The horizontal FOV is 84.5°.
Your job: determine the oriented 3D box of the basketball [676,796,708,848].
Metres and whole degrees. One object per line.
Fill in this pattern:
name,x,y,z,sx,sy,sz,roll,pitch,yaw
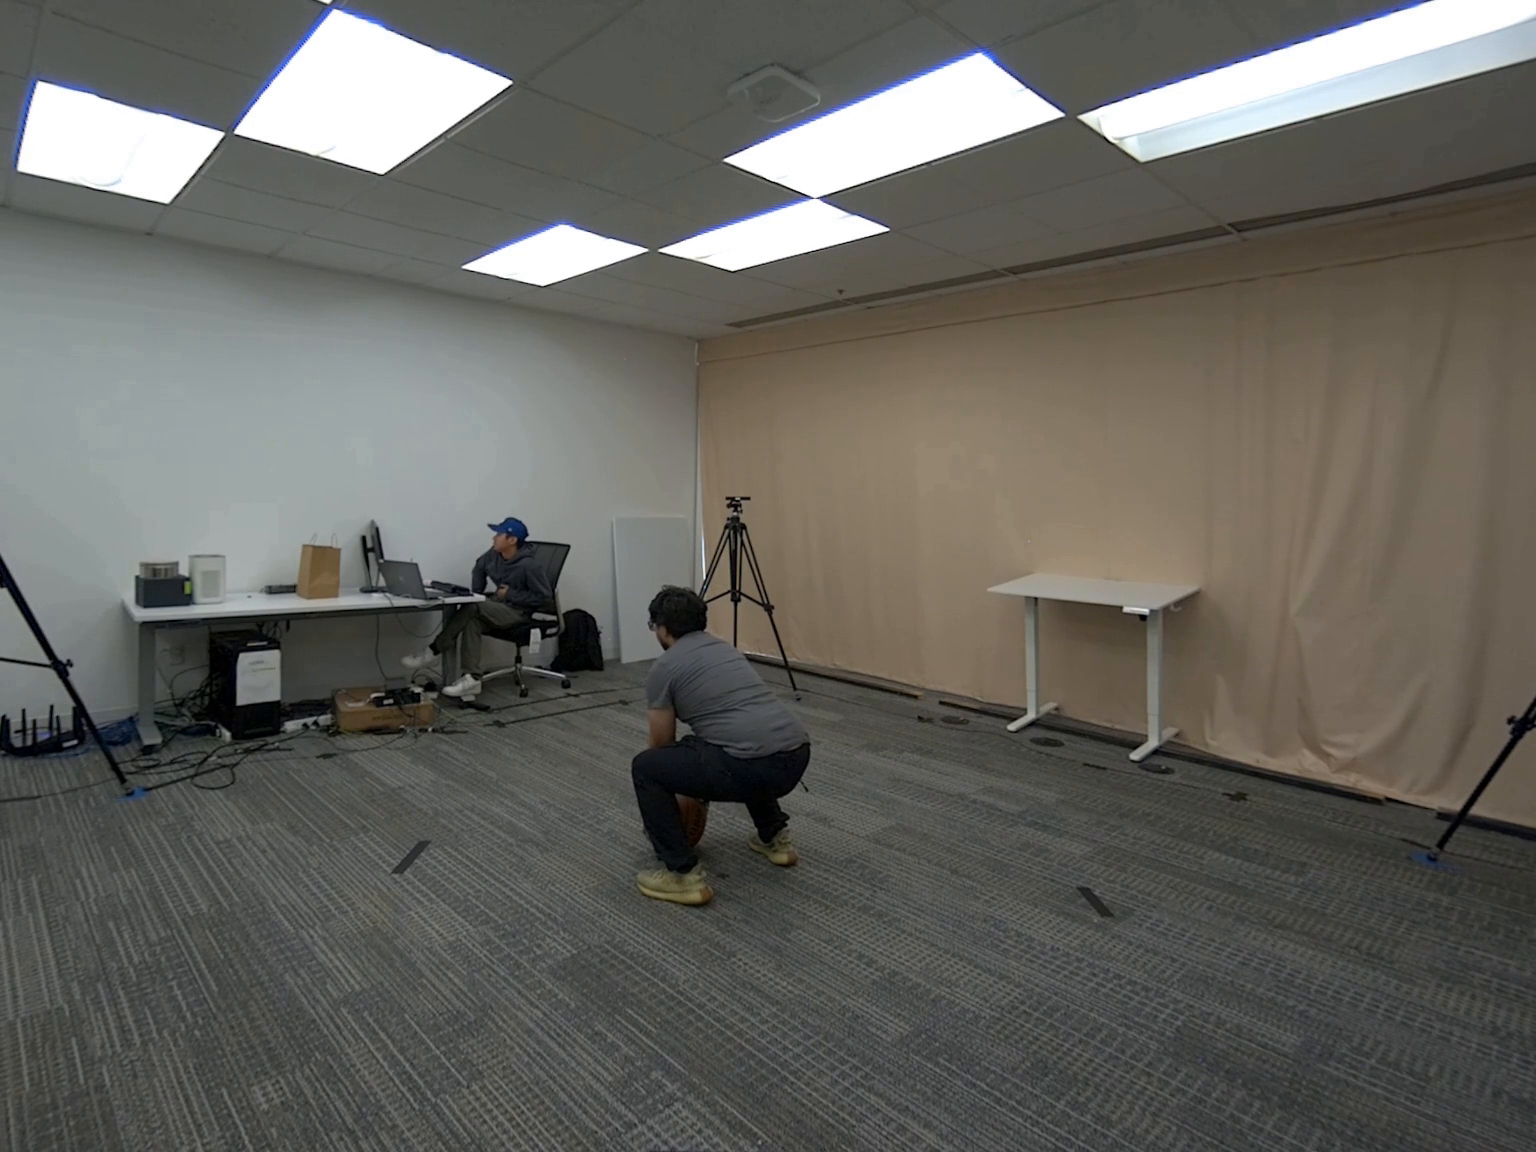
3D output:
basketball,-0.368,0.962,3.307,0.236,0.235,0.237,1,4,-1
